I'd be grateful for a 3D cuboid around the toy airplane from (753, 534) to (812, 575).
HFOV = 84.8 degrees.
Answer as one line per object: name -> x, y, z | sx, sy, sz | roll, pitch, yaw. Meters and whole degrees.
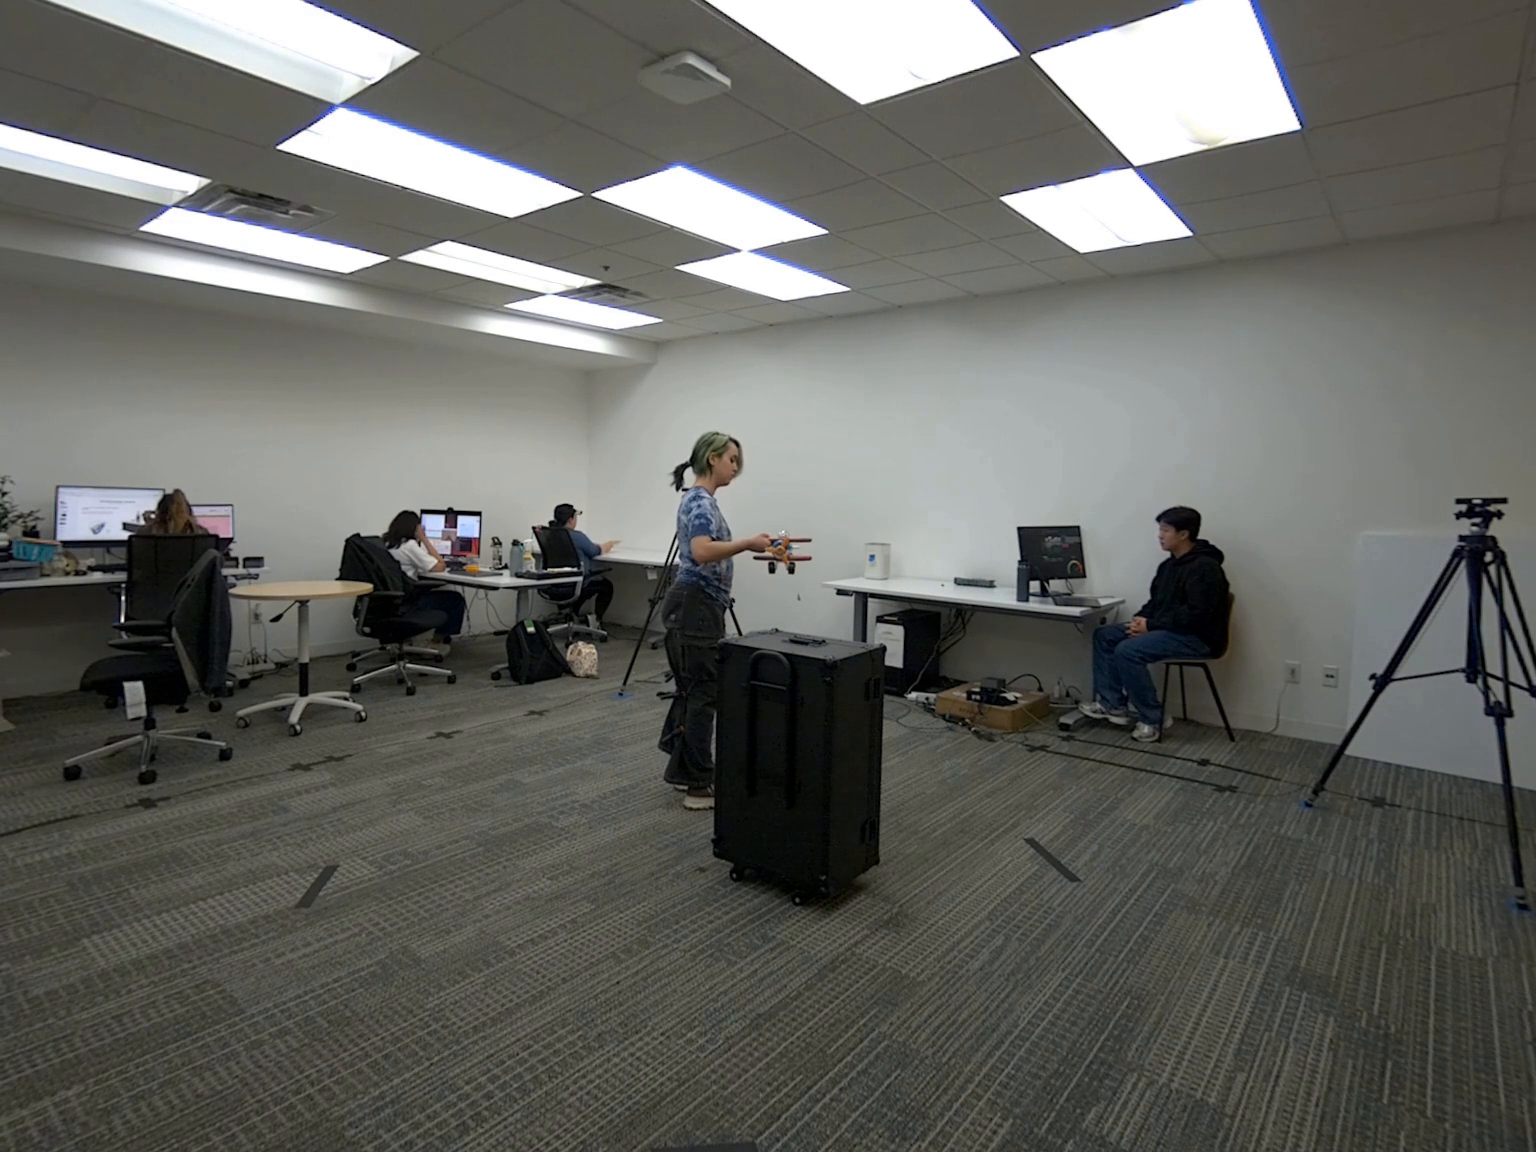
toy airplane -> 0.040, -0.112, 3.725 | 0.247, 0.153, 0.268 | -9, 22, -18
